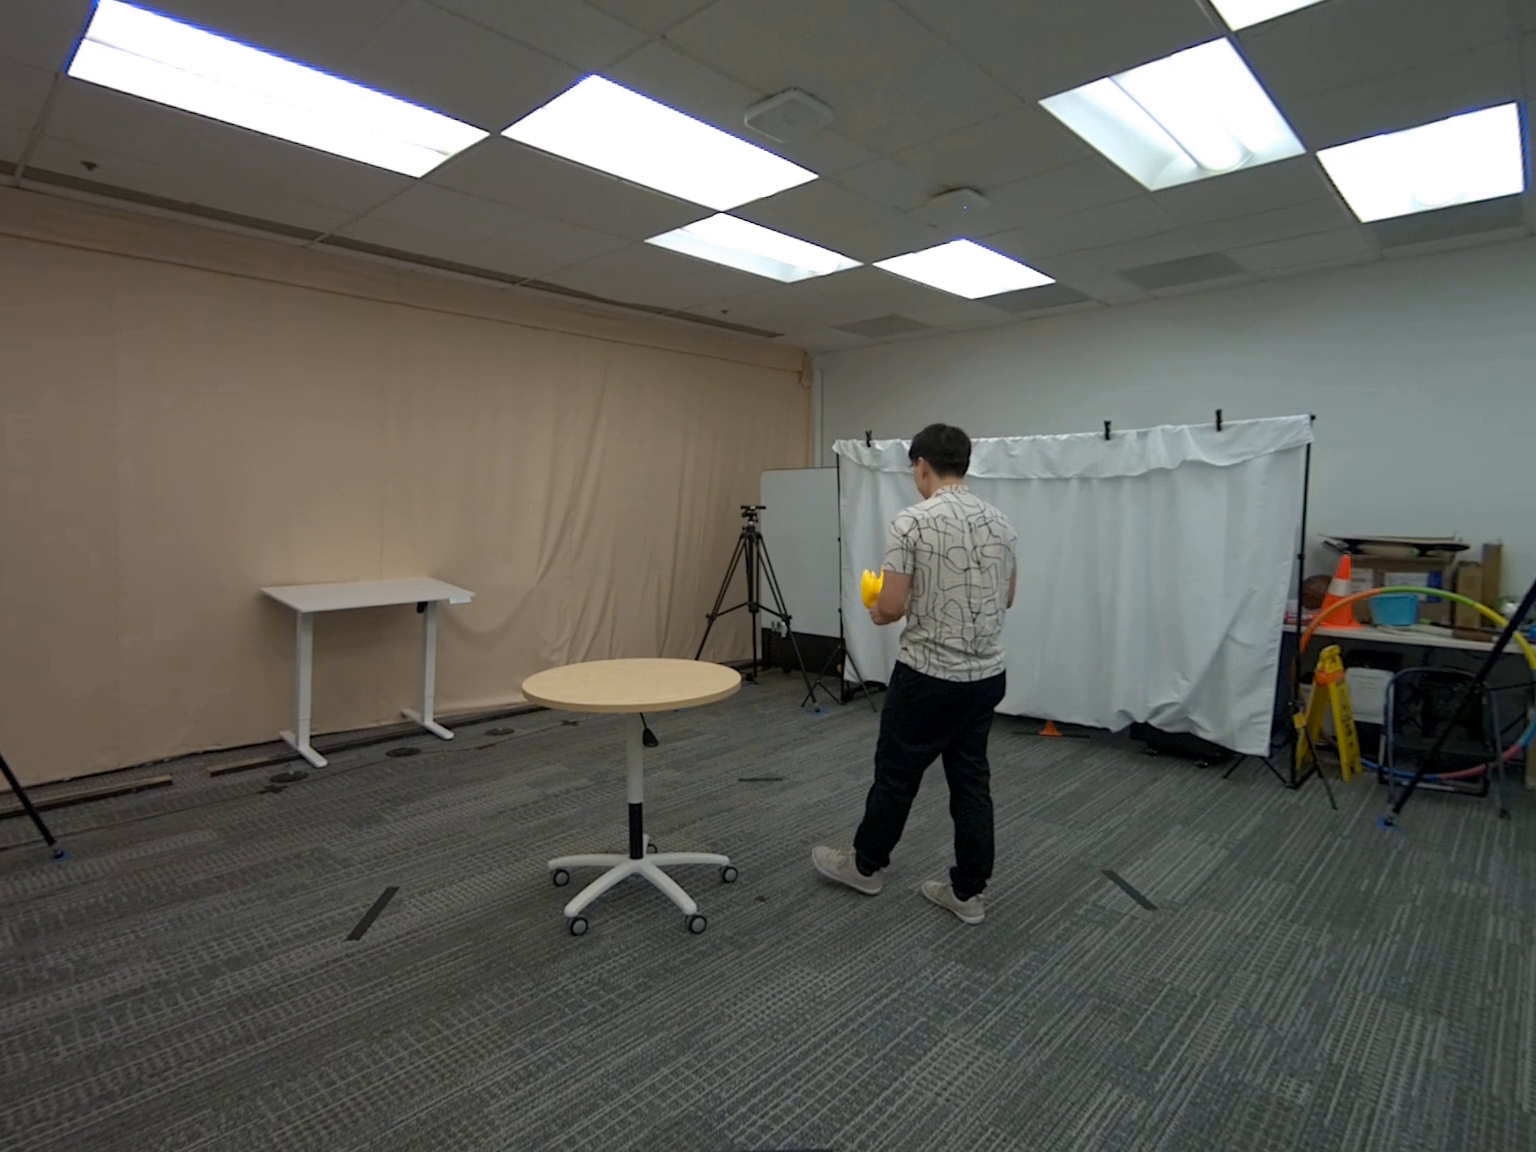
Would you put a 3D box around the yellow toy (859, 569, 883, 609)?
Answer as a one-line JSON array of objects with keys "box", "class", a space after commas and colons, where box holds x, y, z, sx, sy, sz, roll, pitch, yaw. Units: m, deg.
[{"box": [0.485, 0.050, 3.058, 0.200, 0.193, 0.236, -8, 0, -27], "class": "yellow toy"}]
